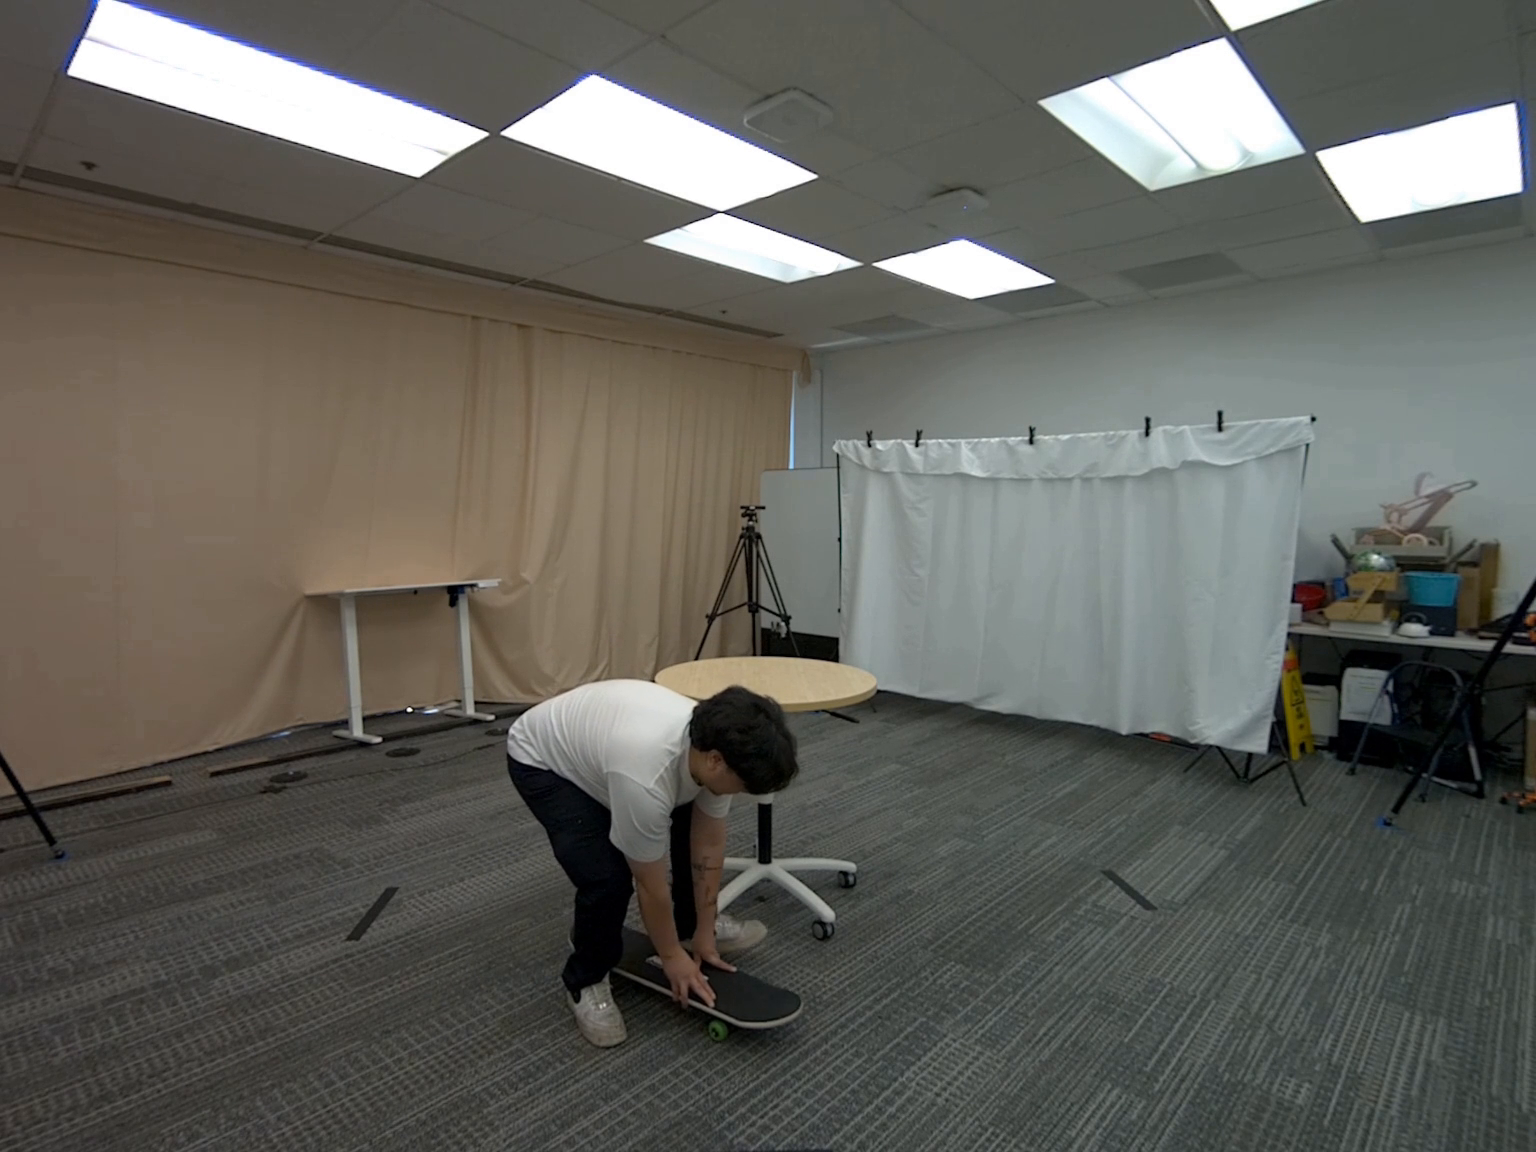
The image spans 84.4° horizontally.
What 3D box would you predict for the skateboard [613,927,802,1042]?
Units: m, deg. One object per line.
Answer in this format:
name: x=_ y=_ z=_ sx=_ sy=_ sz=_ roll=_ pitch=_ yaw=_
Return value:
skateboard: x=-0.253 y=1.143 z=2.376 sx=0.810 sy=0.110 sz=0.188 roll=3 pitch=6 yaw=34
